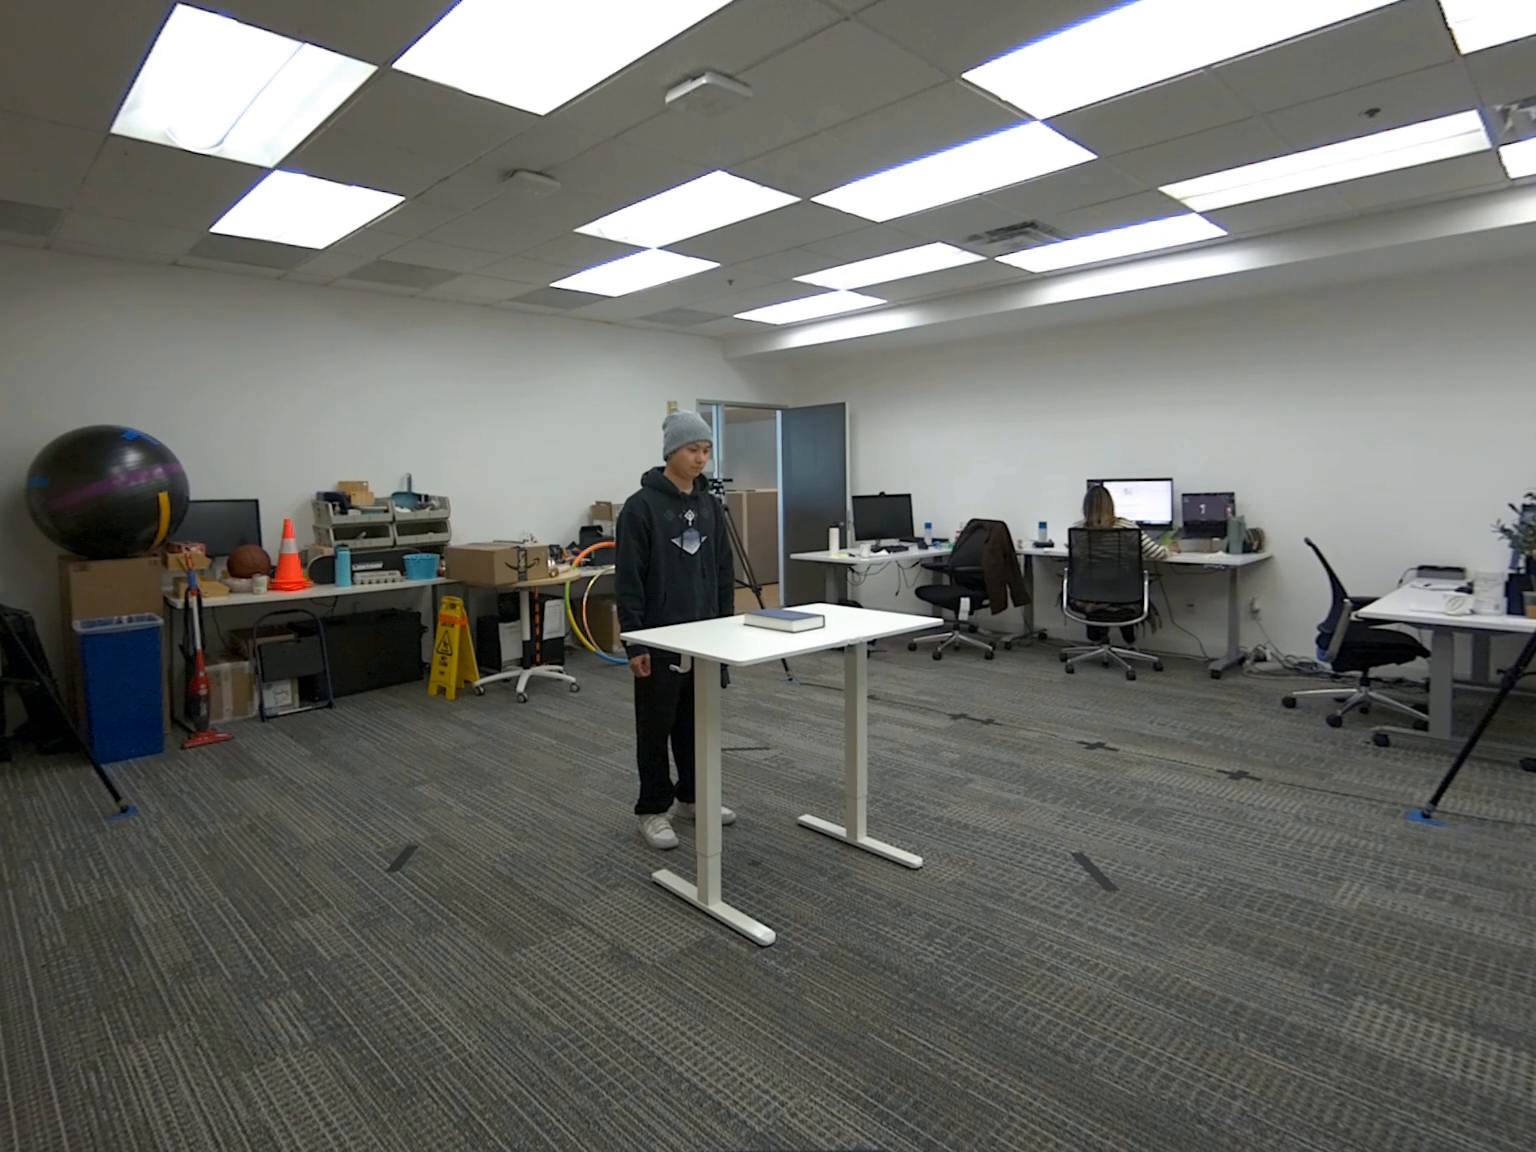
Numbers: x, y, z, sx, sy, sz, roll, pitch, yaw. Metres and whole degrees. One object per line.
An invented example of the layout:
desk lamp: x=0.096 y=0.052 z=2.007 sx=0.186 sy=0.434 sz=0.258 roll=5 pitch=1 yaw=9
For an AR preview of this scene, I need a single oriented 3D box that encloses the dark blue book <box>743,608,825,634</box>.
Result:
dark blue book: x=0.062 y=0.155 z=2.977 sx=0.159 sy=0.045 sz=0.253 roll=-6 pitch=9 yaw=-43
